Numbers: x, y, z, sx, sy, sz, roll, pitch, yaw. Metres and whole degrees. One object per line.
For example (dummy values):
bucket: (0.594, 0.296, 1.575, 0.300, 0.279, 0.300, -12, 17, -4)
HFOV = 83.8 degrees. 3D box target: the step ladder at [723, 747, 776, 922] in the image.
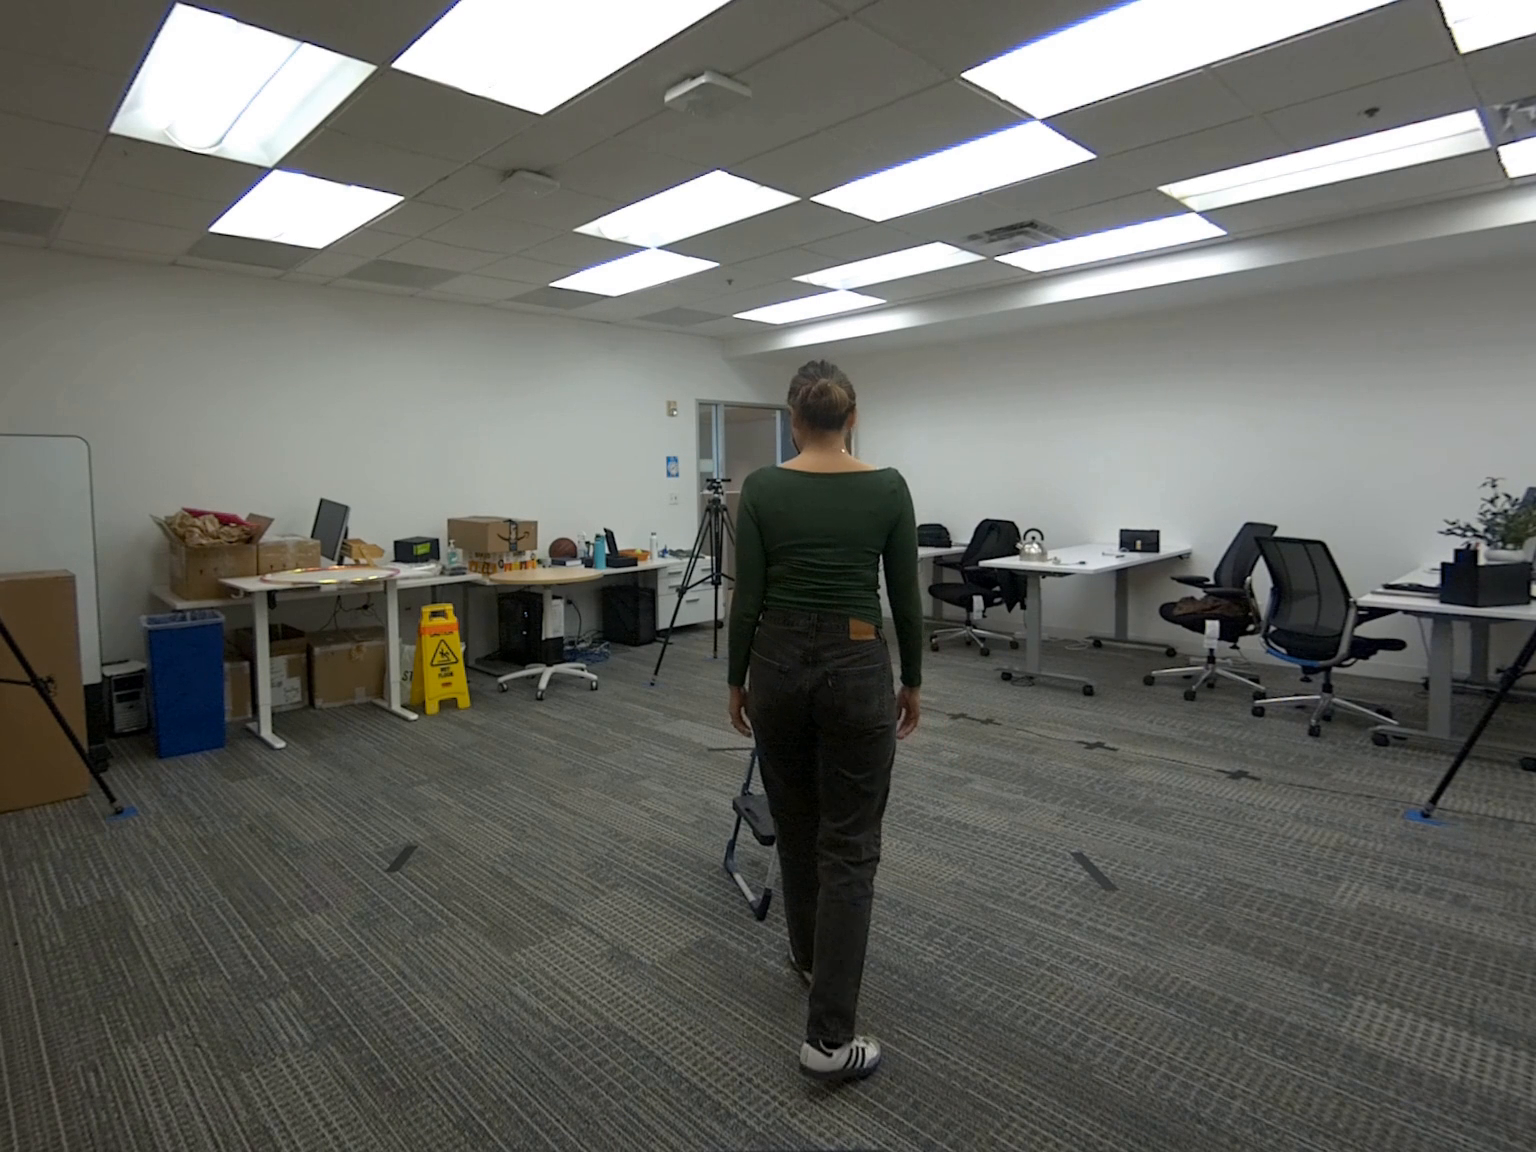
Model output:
step ladder: (0.065, 0.761, 2.920, 0.344, 0.604, 0.439, -2, 5, -18)
